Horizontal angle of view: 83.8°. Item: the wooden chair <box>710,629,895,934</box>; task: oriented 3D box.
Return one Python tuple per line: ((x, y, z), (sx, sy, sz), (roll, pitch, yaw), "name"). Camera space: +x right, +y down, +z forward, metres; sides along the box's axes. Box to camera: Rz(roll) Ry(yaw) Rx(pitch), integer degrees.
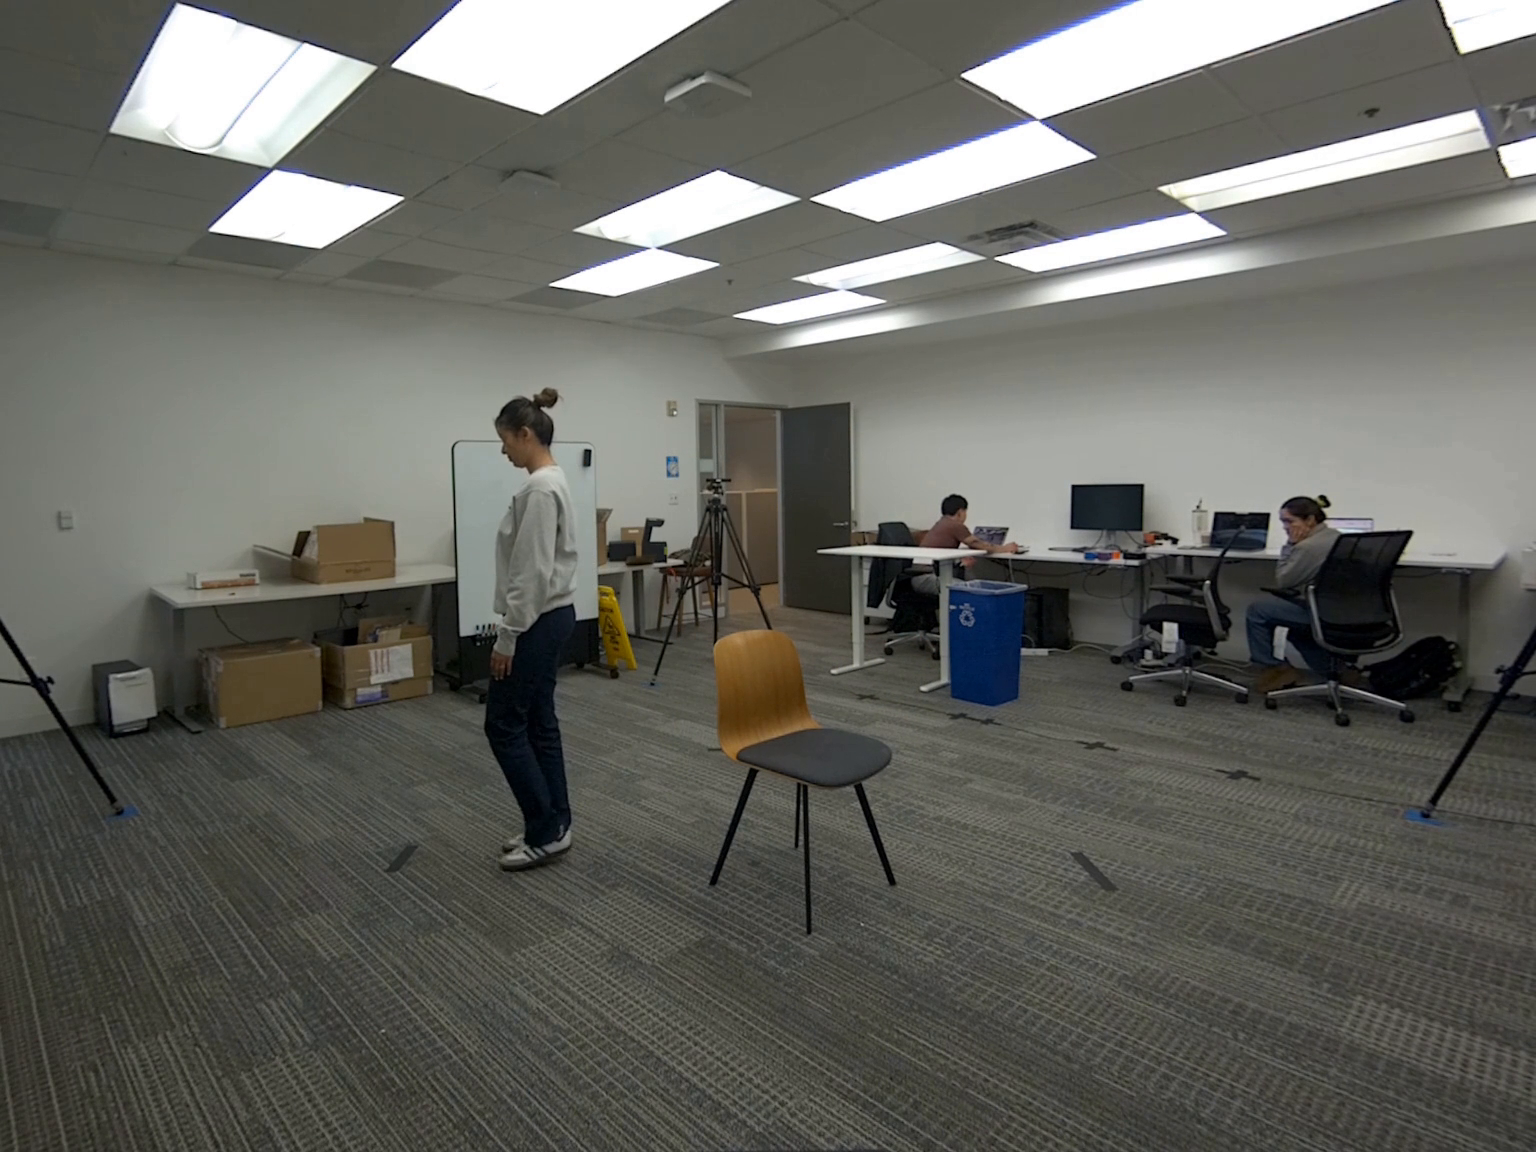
((0.119, 0.636, 2.895), (0.465, 0.877, 0.537), (-4, 1, -44), "wooden chair")
